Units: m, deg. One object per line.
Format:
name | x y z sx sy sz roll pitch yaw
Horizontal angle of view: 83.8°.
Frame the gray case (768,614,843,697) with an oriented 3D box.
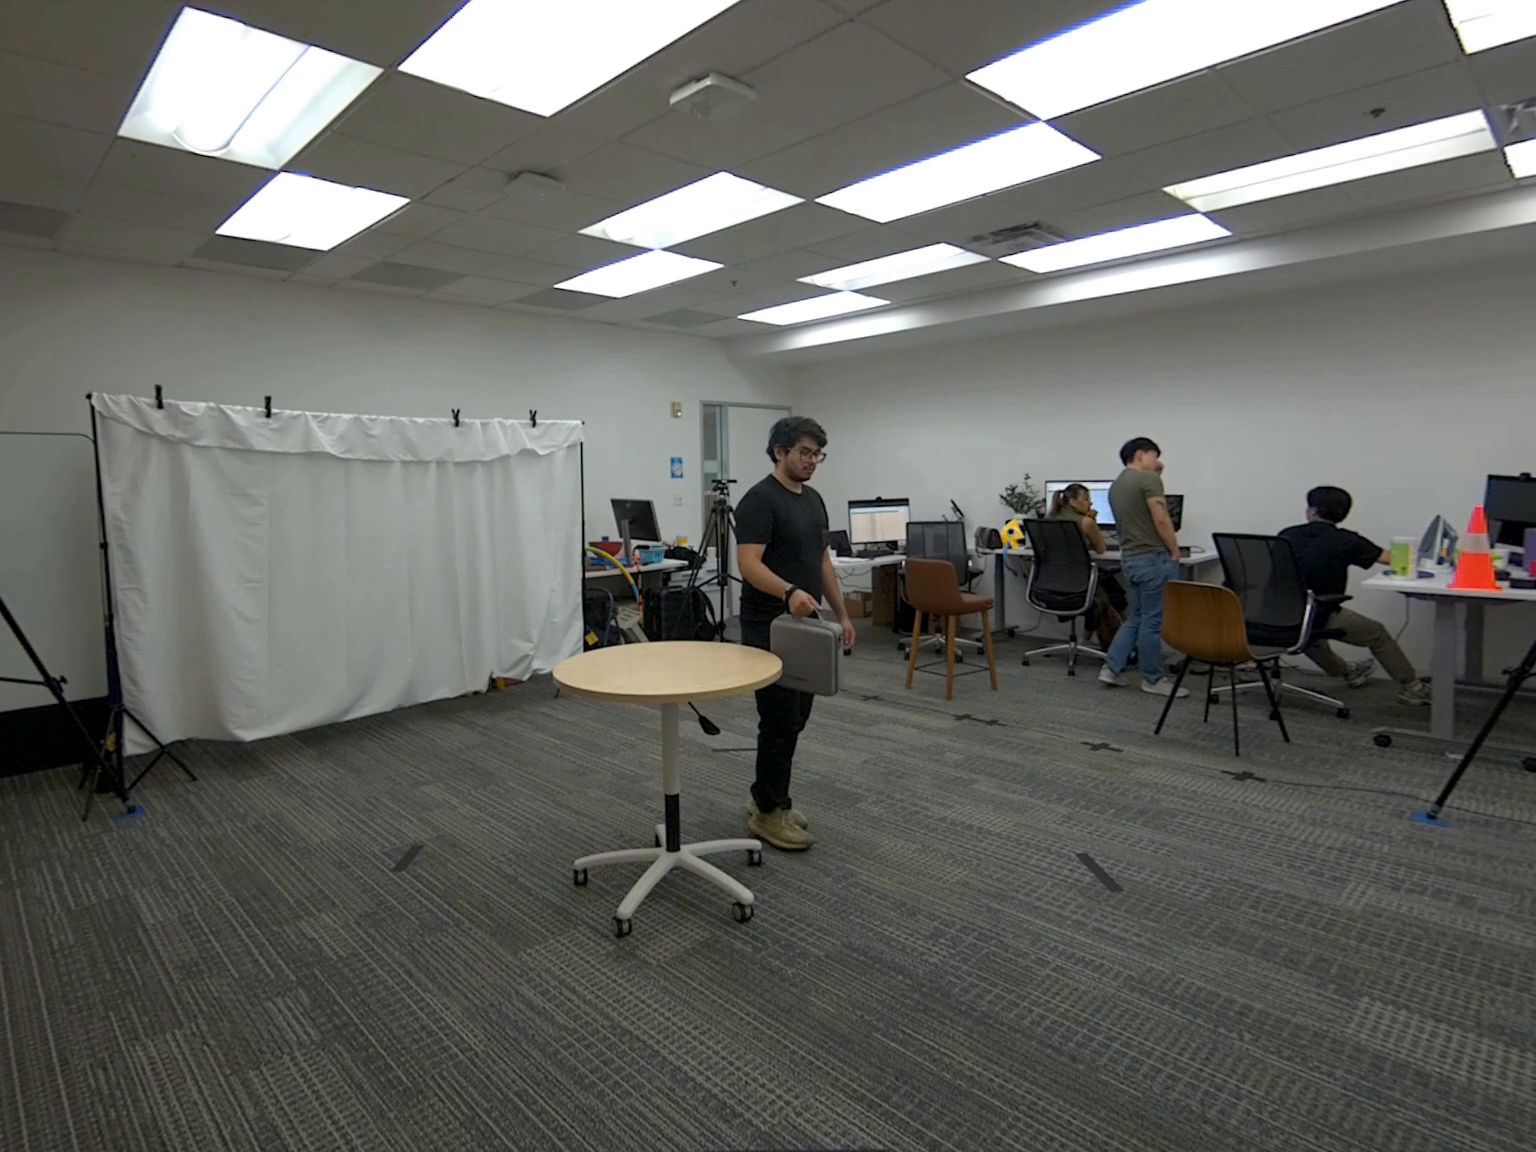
gray case | 0.131 0.274 3.014 0.264 0.257 0.103 9 18 31
